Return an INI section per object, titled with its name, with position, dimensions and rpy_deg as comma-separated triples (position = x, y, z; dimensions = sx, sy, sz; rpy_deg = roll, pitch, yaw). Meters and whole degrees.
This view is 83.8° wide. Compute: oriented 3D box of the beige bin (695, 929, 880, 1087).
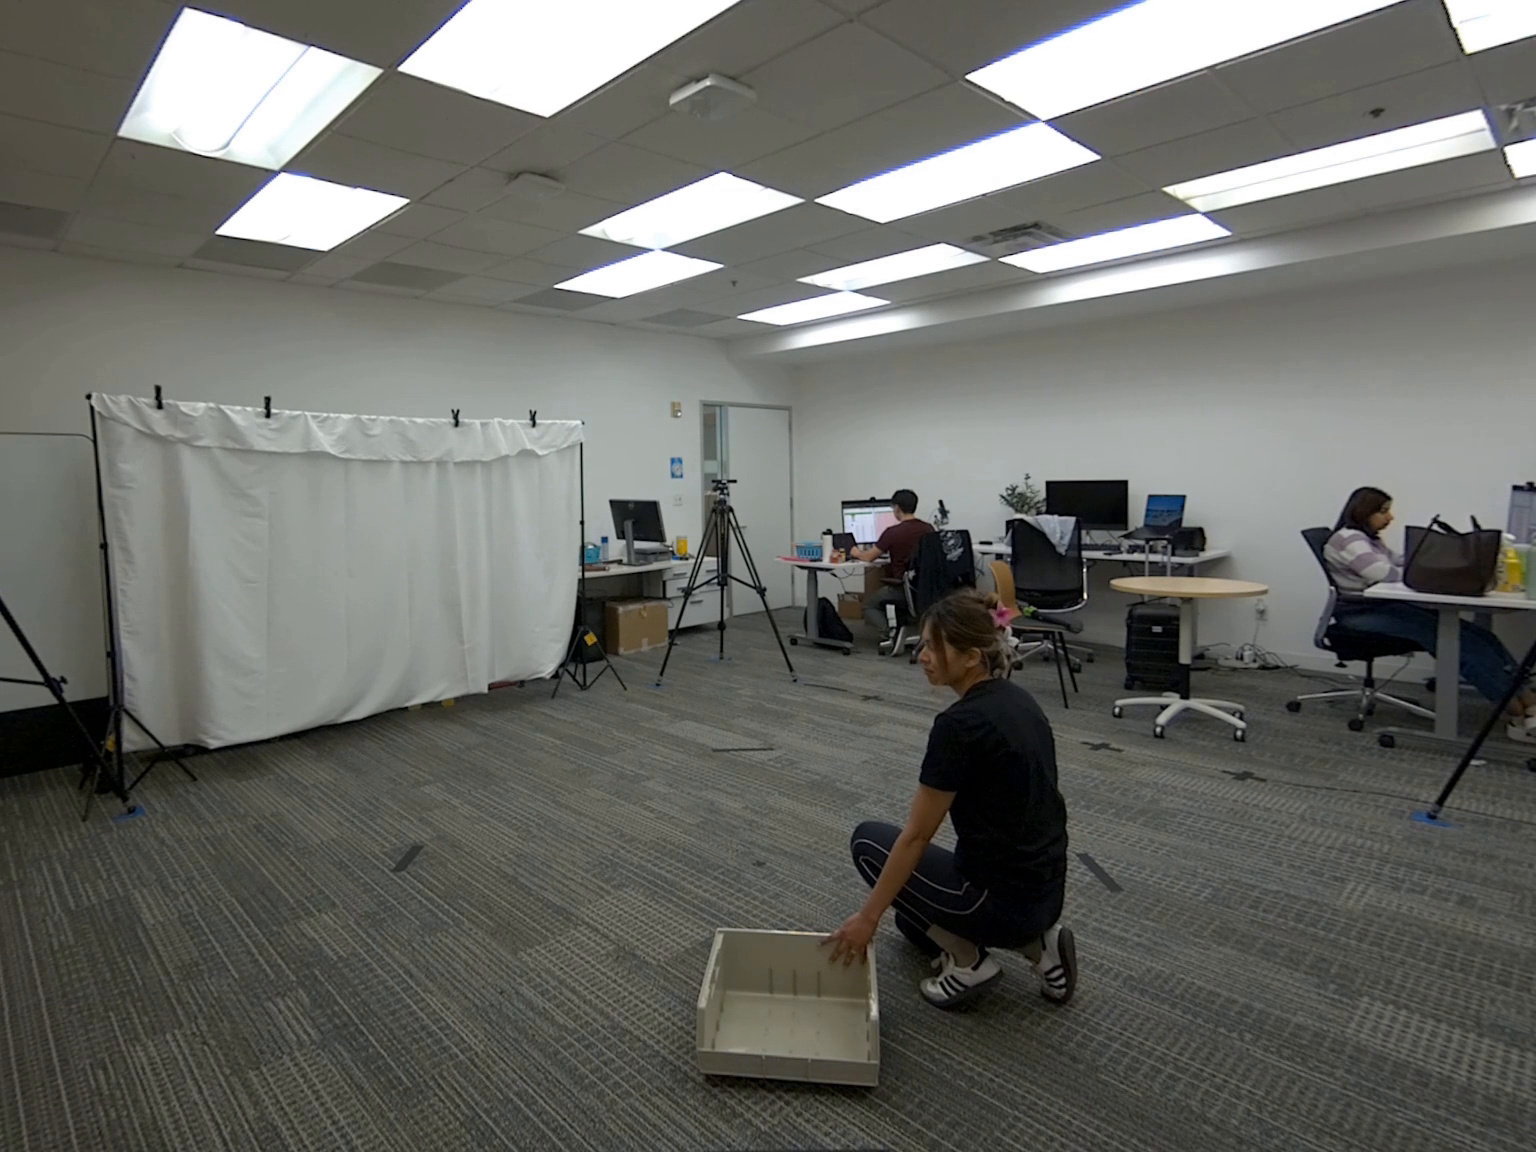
[beige bin]
position = 0.067, 1.078, 2.108
dimensions = 0.425, 0.188, 0.376
rpy_deg = -1, 5, 6
